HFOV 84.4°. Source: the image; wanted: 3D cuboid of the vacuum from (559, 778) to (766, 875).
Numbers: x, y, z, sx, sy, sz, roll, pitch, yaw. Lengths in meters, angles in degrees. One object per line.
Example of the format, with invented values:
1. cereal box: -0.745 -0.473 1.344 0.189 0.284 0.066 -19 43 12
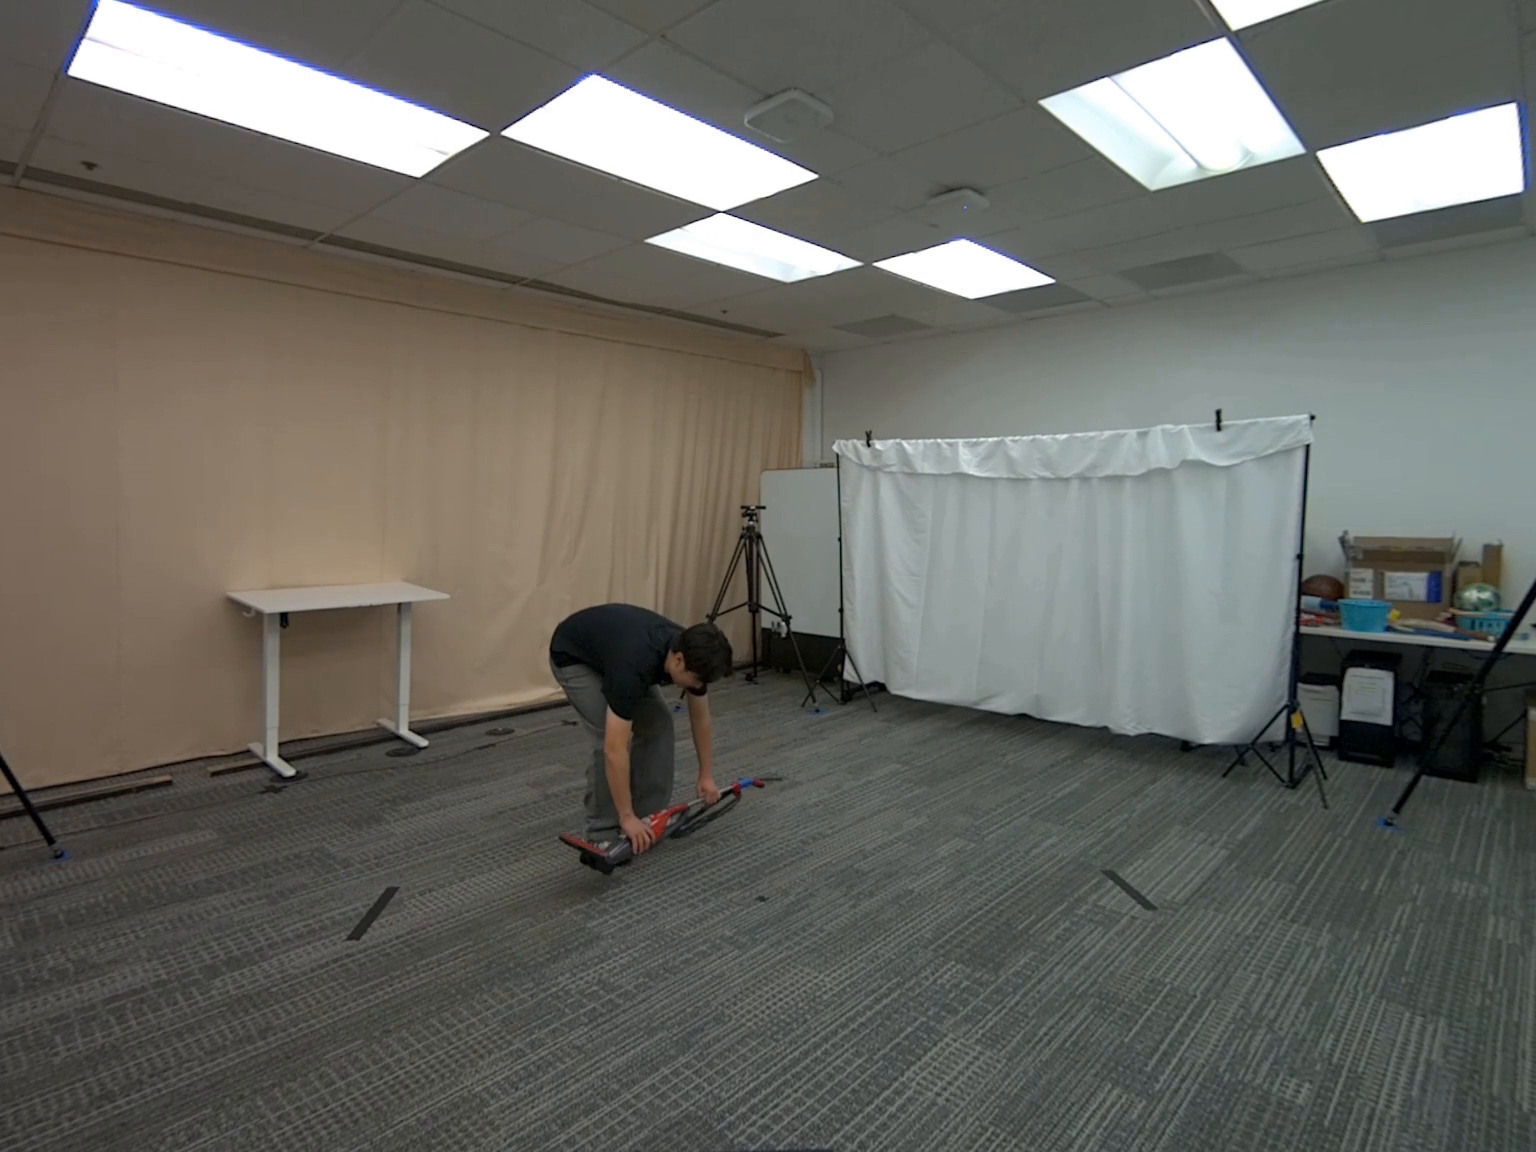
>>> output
1. vacuum: -0.331 0.975 3.405 0.261 0.143 1.017 6 5 37
